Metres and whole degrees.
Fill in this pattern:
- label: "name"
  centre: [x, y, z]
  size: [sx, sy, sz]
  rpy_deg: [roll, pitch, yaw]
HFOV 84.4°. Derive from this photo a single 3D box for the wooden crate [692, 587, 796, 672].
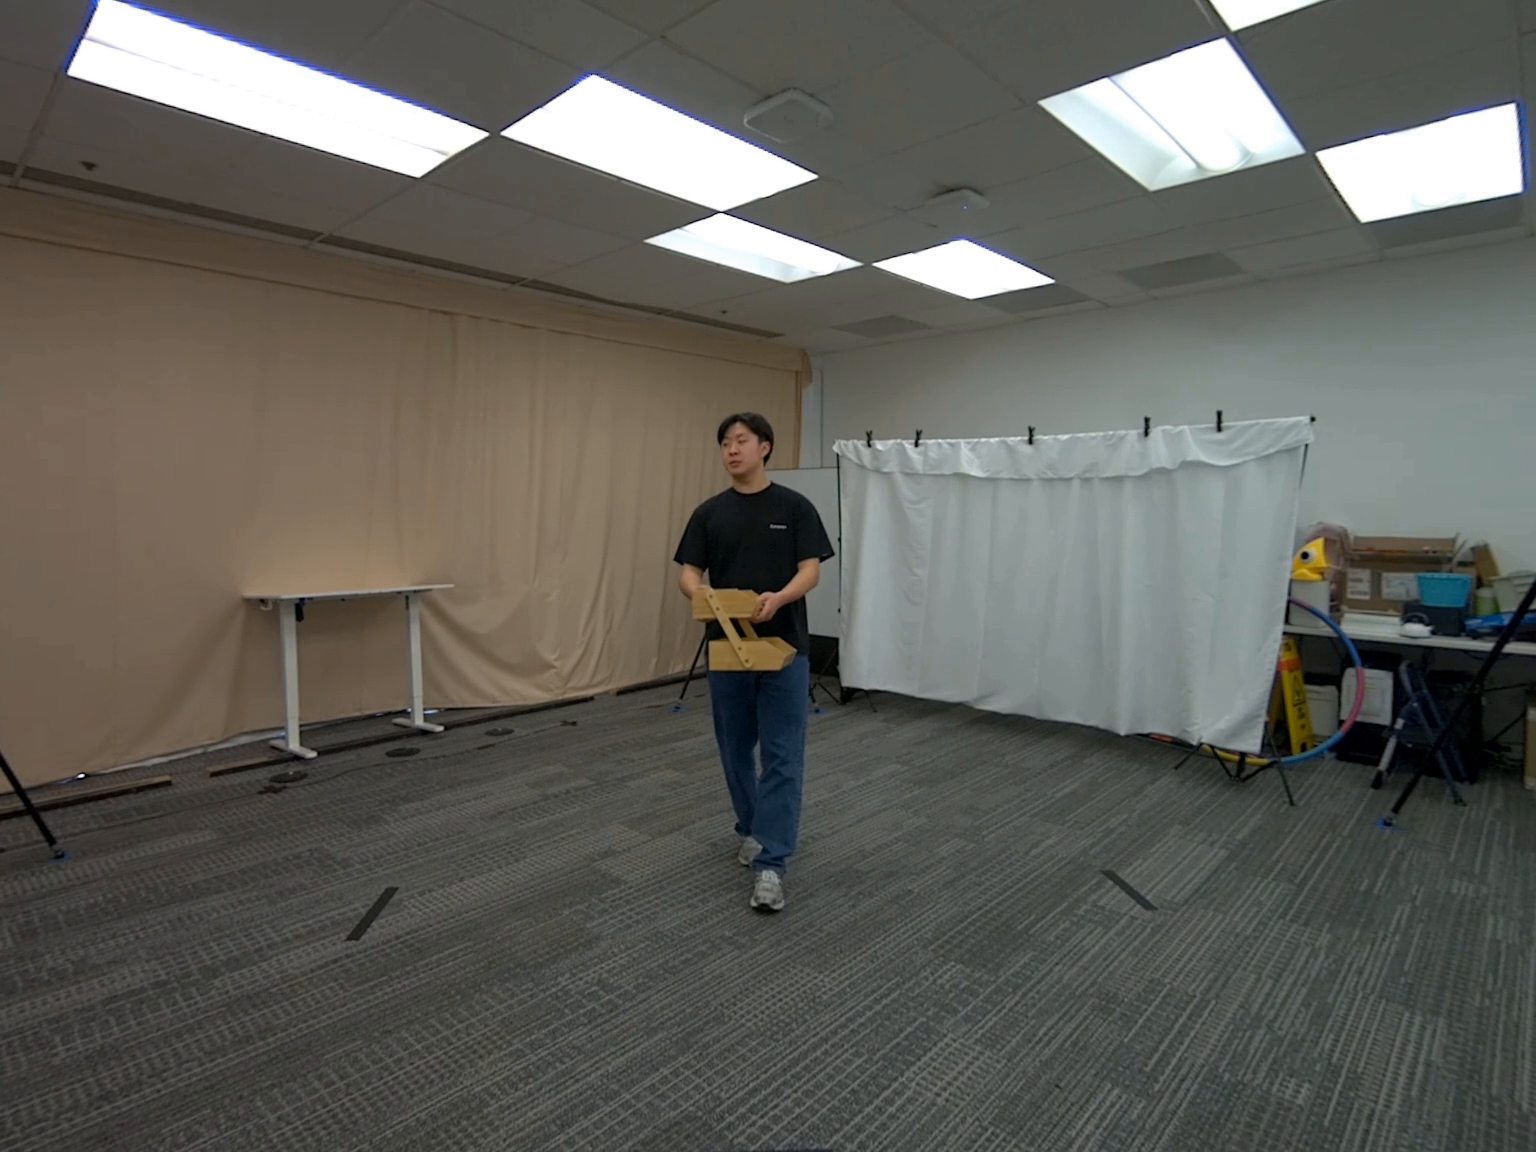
- label: "wooden crate"
  centre: [-0.060, 0.174, 2.853]
  size: [0.306, 0.274, 0.320]
  rpy_deg: [-2, -3, 11]
